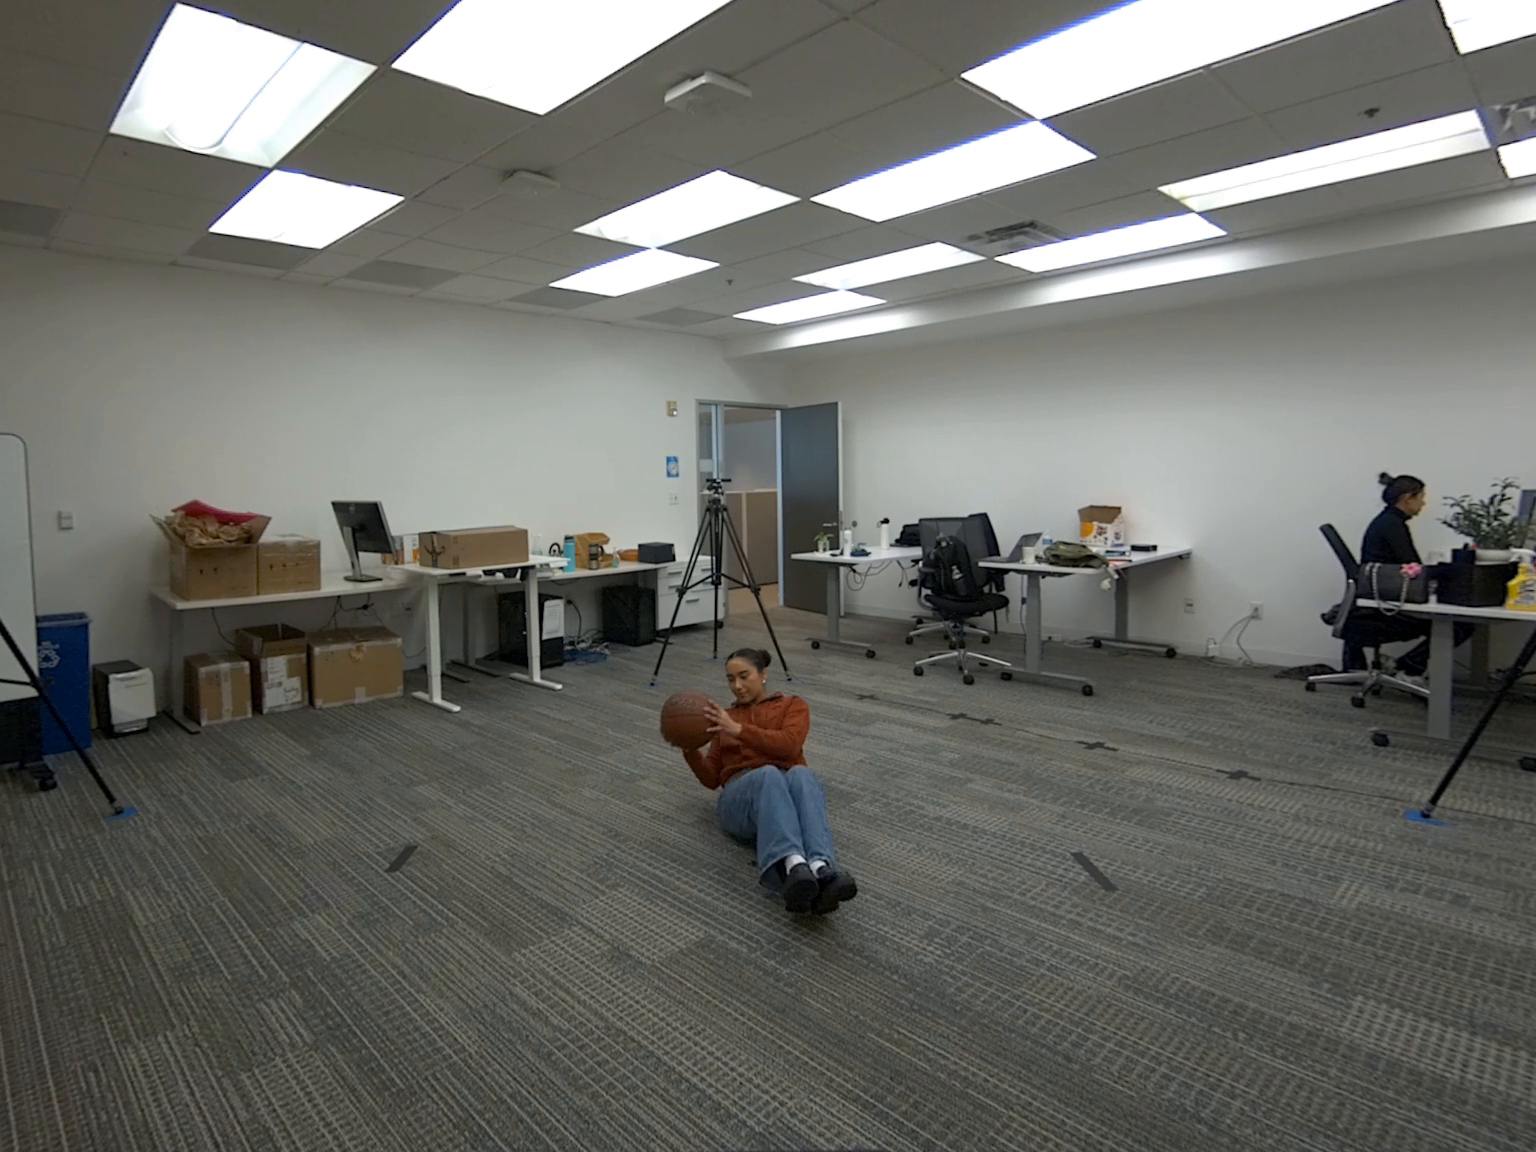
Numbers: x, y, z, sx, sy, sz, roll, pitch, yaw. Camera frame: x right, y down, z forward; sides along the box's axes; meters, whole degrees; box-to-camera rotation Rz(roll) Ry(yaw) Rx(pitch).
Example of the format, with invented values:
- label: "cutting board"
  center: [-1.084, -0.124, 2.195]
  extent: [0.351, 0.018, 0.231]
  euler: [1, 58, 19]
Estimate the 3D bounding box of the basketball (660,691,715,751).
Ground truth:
- label: "basketball"
  center: [-0.301, 0.586, 3.412]
  extent: [0.236, 0.235, 0.237]
  euler: [-1, 5, -2]
